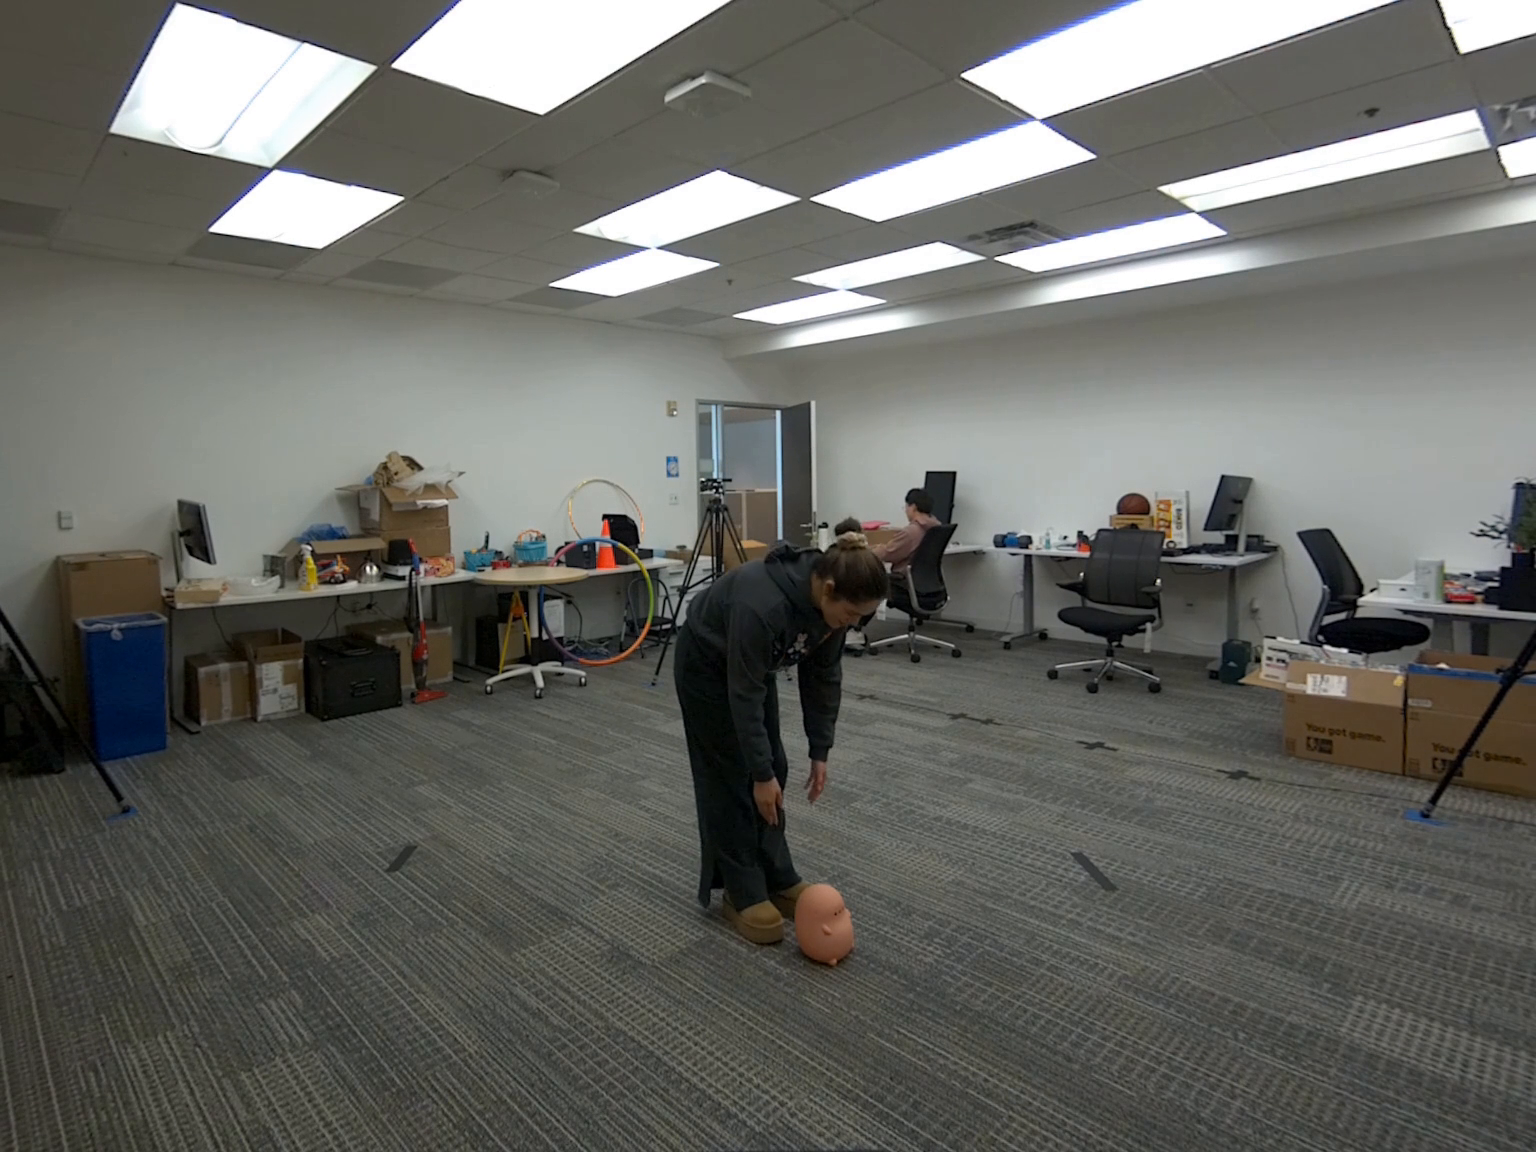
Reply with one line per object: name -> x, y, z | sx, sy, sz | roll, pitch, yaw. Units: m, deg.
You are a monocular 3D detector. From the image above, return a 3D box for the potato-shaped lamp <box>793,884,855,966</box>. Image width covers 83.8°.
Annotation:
potato-shaped lamp -> 0.168, 1.006, 2.506 | 0.176, 0.198, 0.160 | 0, 3, 35
